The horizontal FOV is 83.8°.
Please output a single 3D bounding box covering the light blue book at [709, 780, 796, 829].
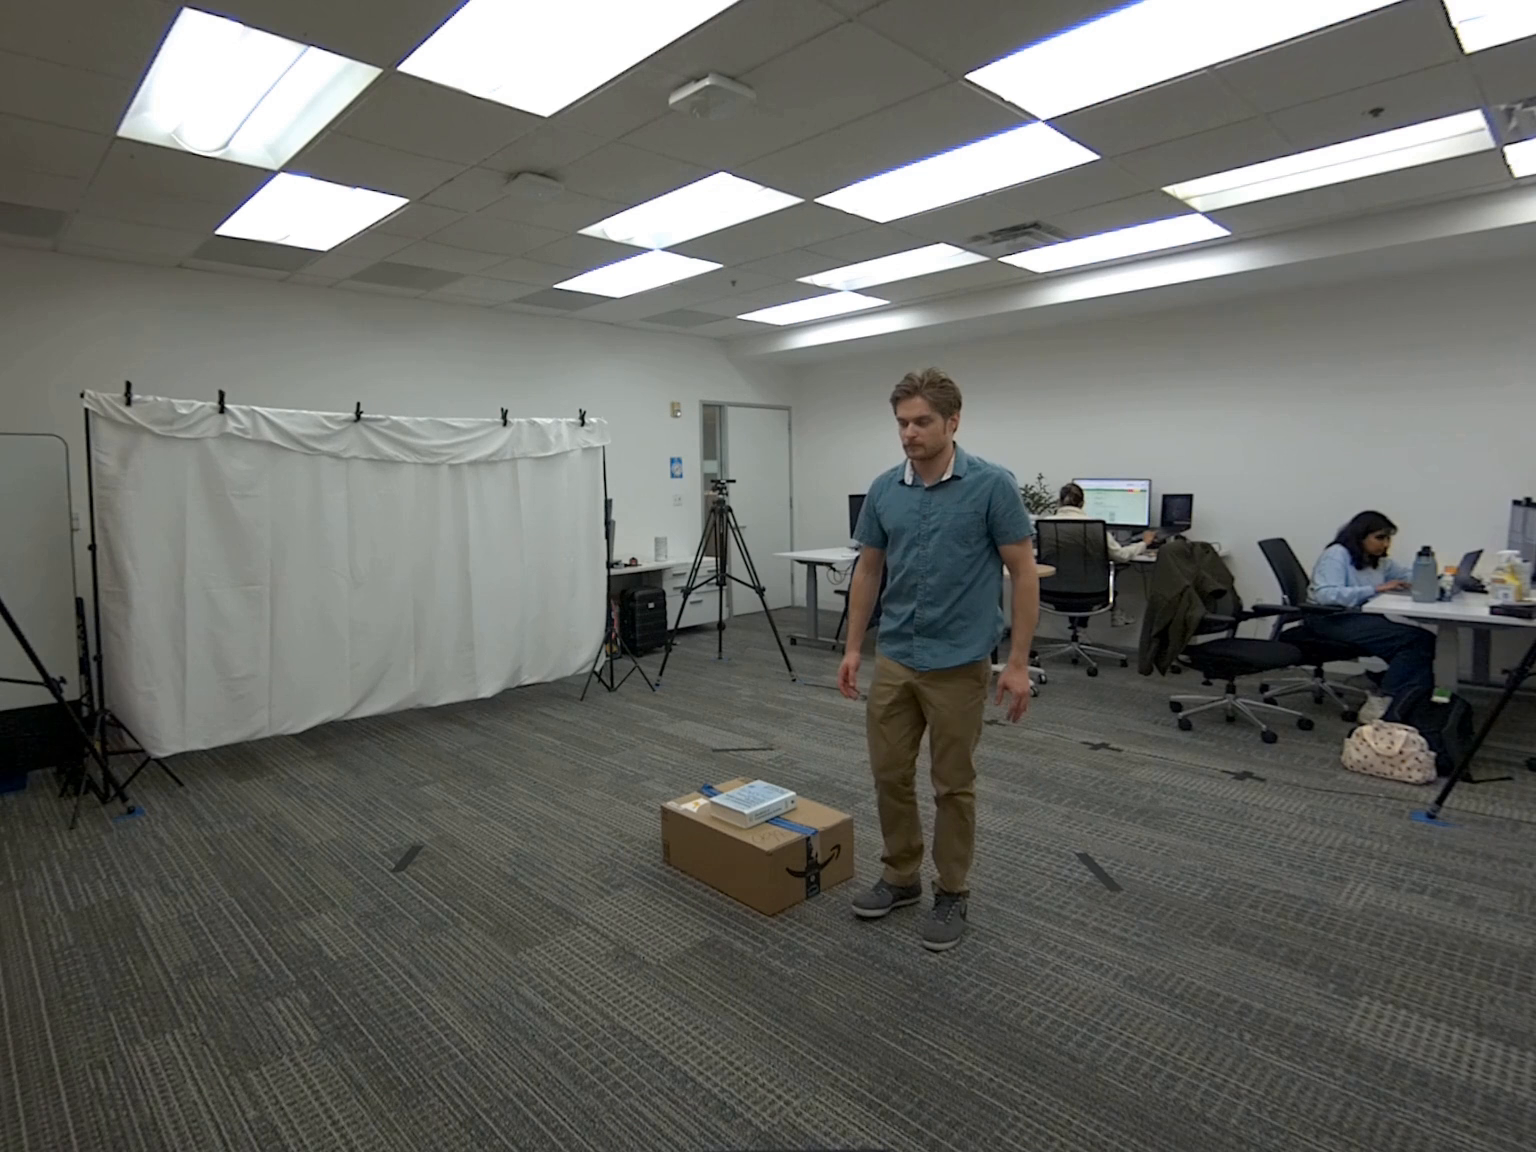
[{"bbox_3d":[-0.051,0.809,3.058,0.197,0.059,0.254,5,9,44],"label":"light blue book"}]
